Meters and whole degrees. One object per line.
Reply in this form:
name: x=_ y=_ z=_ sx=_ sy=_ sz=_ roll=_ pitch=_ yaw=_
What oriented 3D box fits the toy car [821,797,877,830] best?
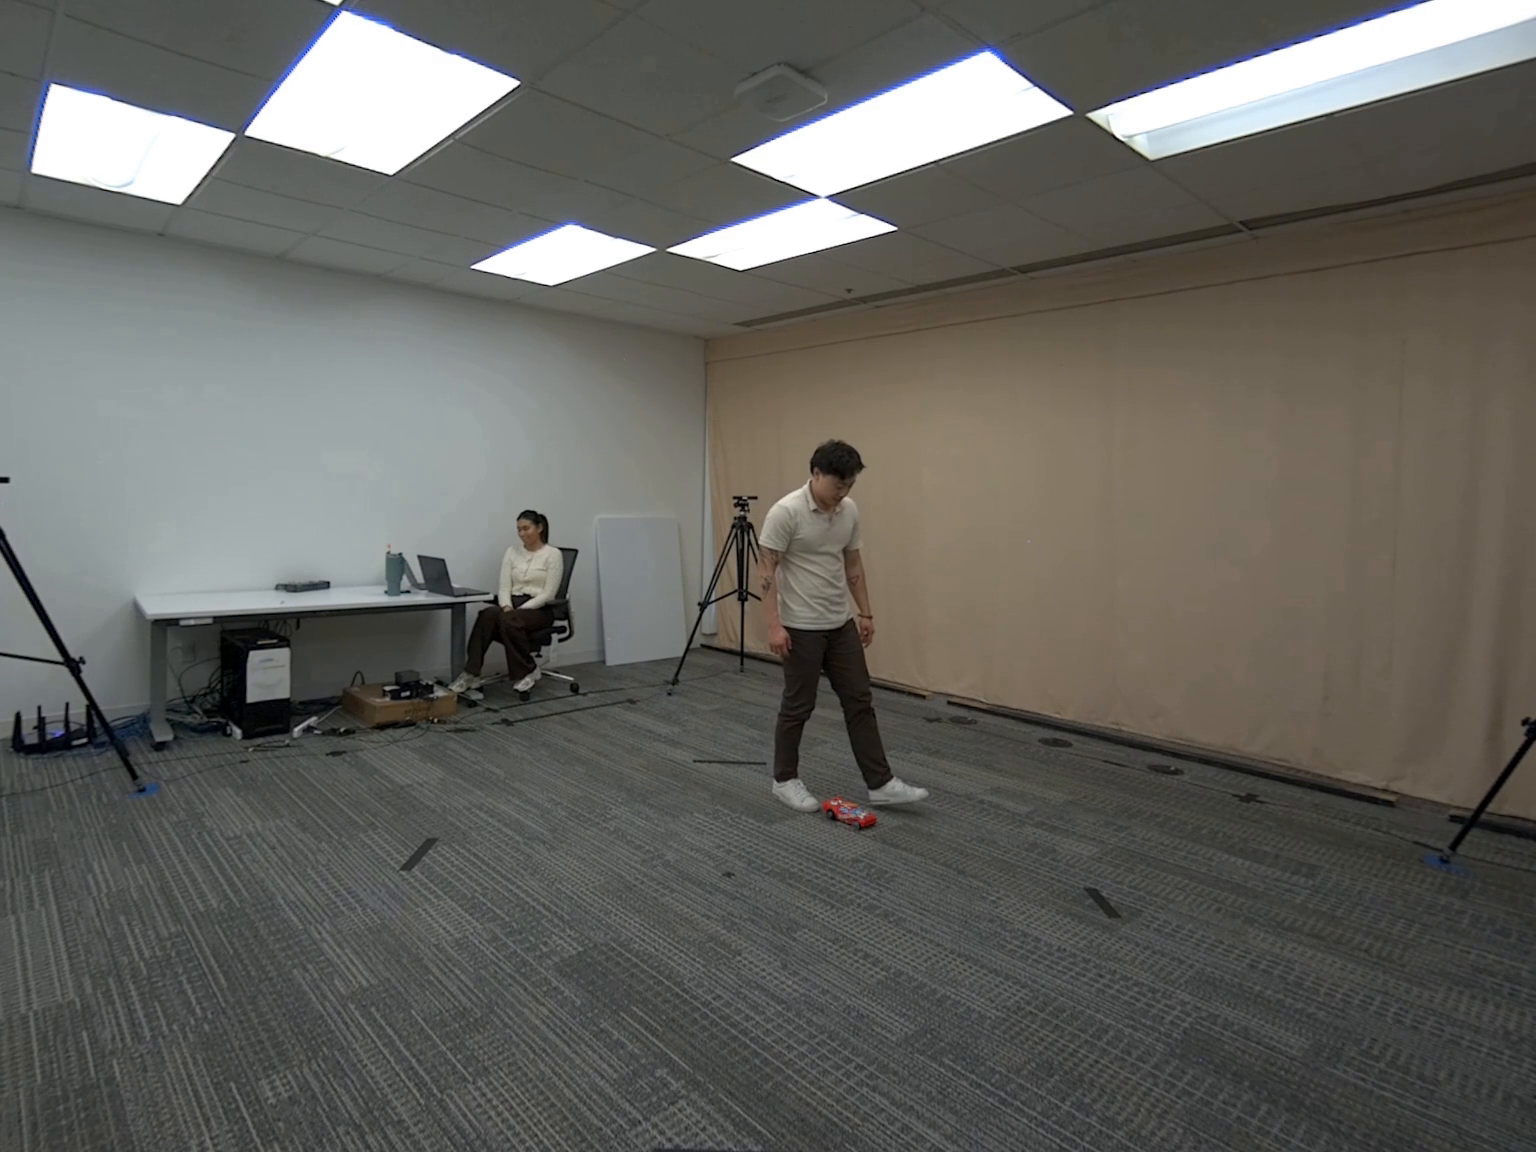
toy car: x=0.340 y=1.036 z=3.671 sx=0.127 sy=0.082 sz=0.262 roll=-2 pitch=16 yaw=-41
